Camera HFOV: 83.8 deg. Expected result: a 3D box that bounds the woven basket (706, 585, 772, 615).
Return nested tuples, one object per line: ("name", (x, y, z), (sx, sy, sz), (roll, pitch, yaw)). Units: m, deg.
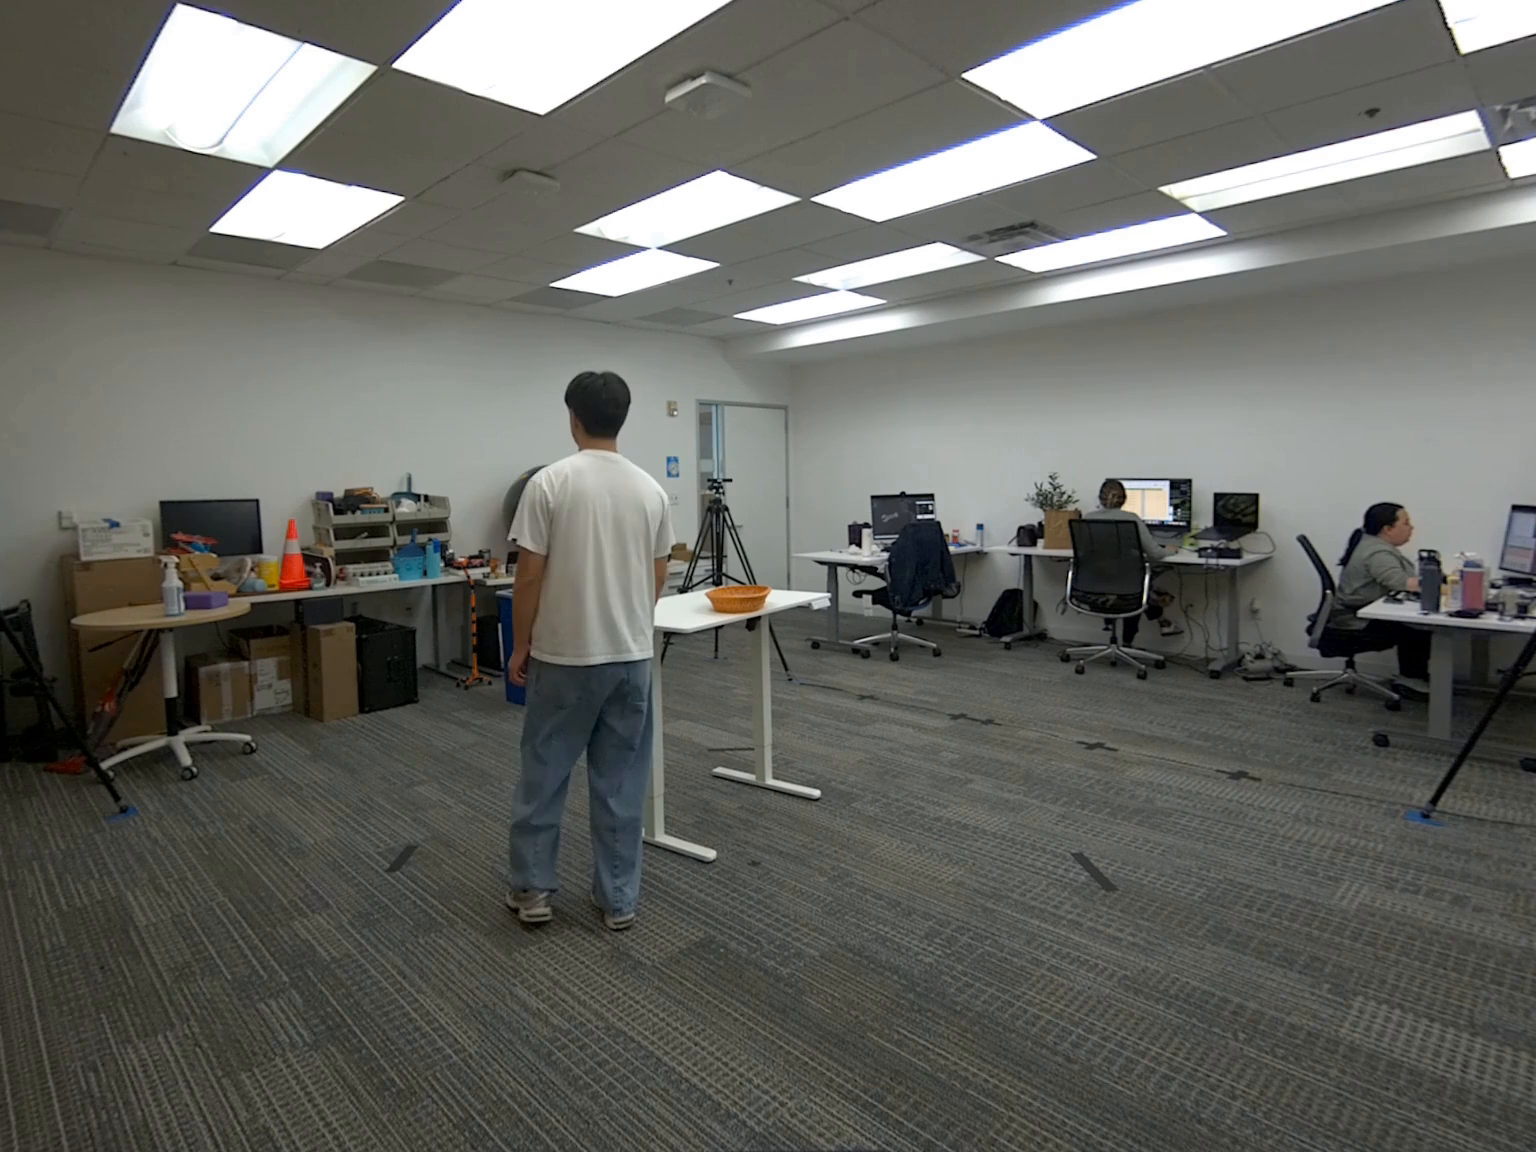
("woven basket", (-0.112, 0.099, 3.425), (0.256, 0.073, 0.346), (0, 7, 16))
